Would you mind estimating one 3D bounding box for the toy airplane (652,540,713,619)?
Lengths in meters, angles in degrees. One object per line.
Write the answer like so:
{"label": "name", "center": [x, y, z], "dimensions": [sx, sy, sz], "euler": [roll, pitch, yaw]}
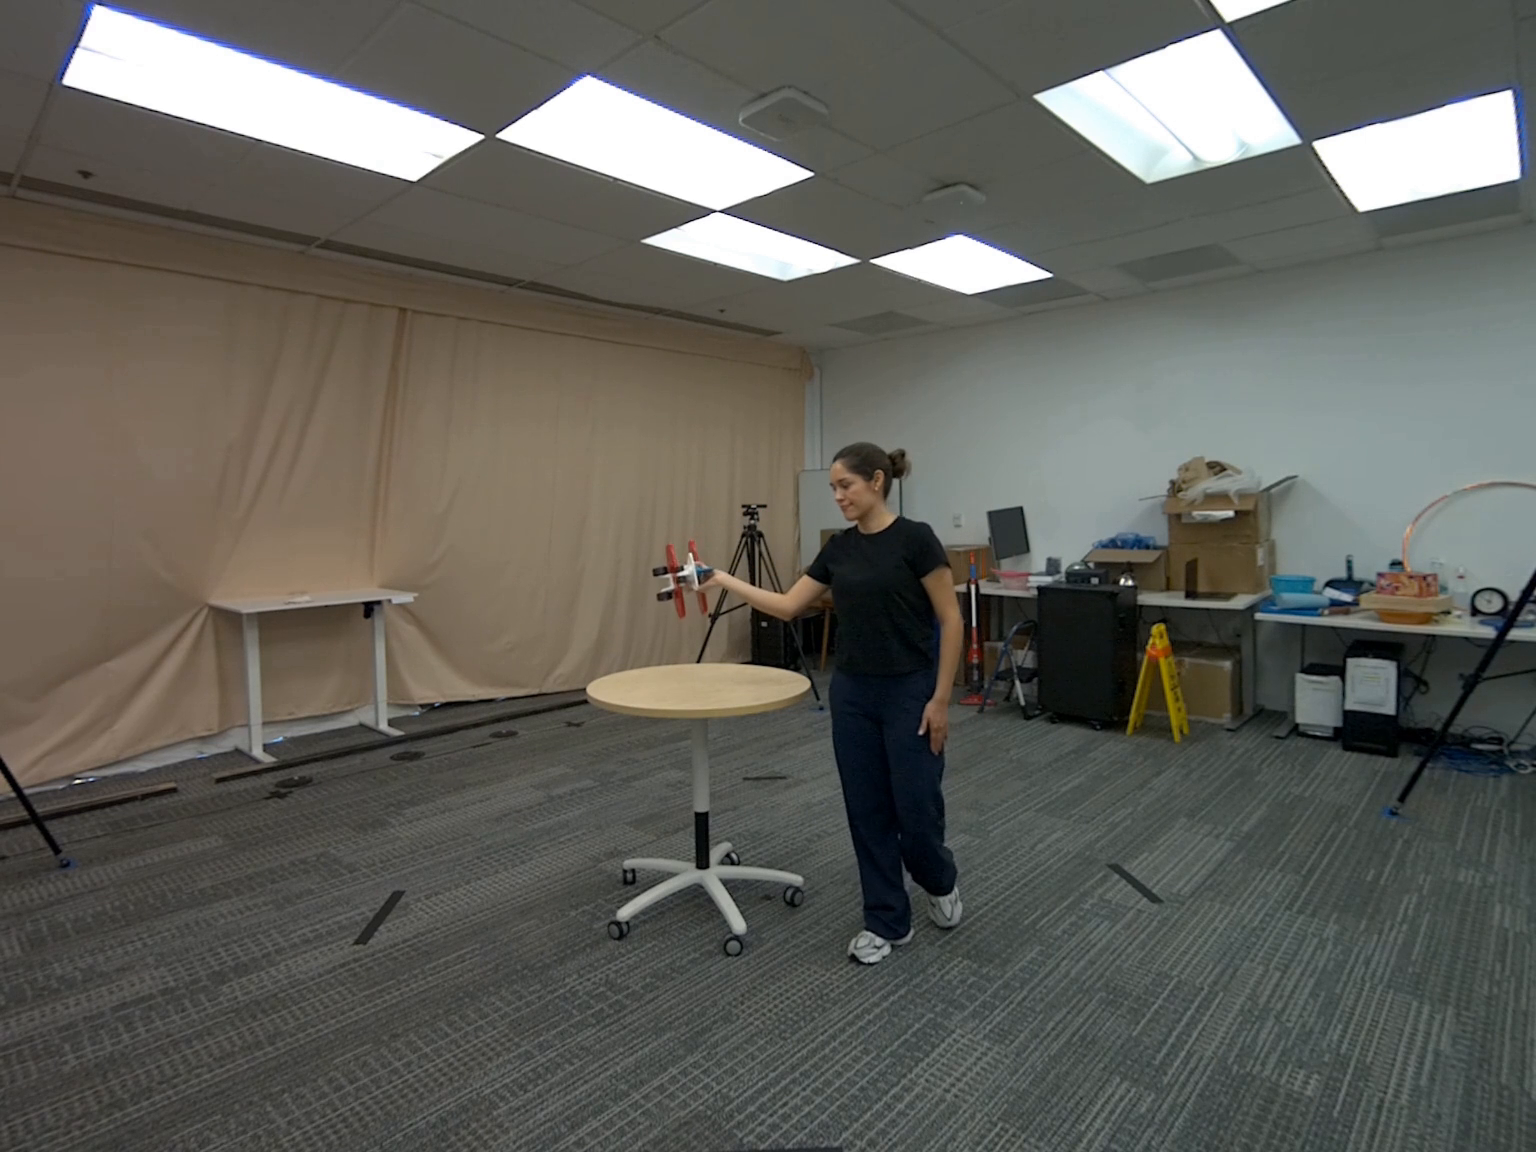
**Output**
{"label": "toy airplane", "center": [-0.254, 0.024, 2.795], "dimensions": [0.153, 0.248, 0.268], "euler": [-7, 21, -26]}
